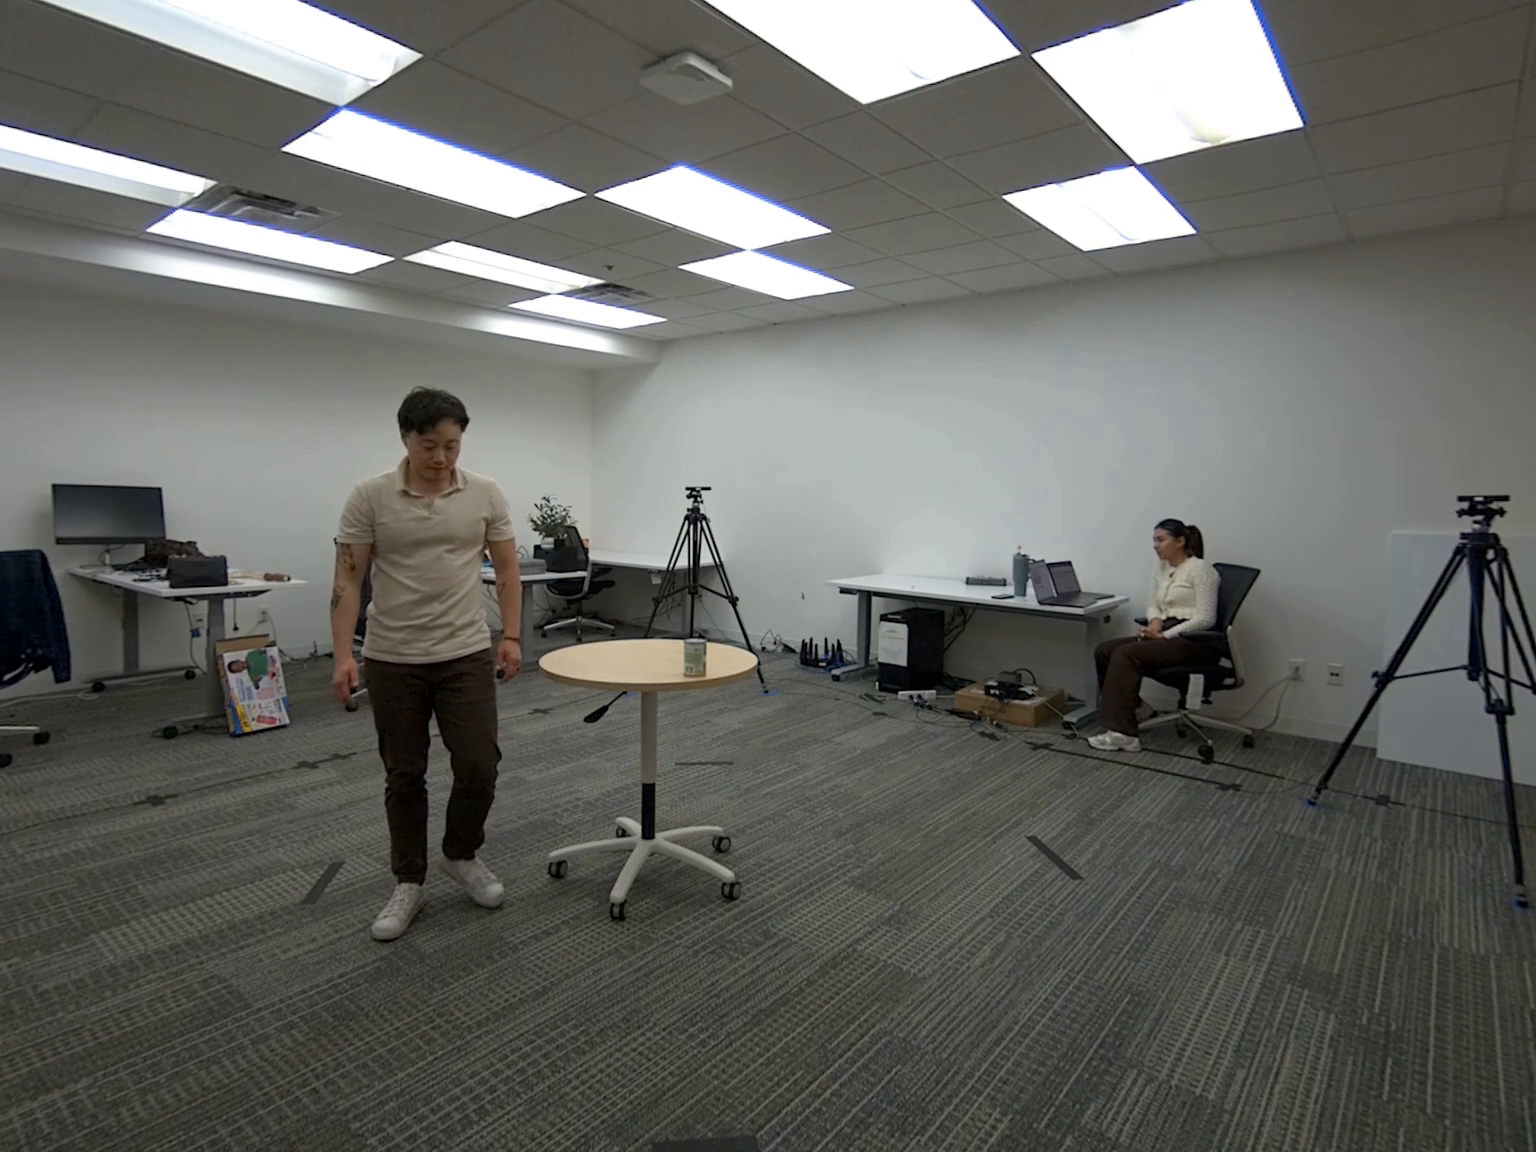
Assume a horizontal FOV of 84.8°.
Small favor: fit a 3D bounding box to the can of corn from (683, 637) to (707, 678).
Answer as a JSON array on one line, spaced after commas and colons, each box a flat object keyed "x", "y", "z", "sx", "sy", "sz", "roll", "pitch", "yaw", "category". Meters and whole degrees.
[{"x": -0.247, "y": 0.265, "z": 2.727, "sx": 0.074, "sy": 0.110, "sz": 0.075, "roll": 0, "pitch": 5, "yaw": -2, "category": "can of corn"}]
